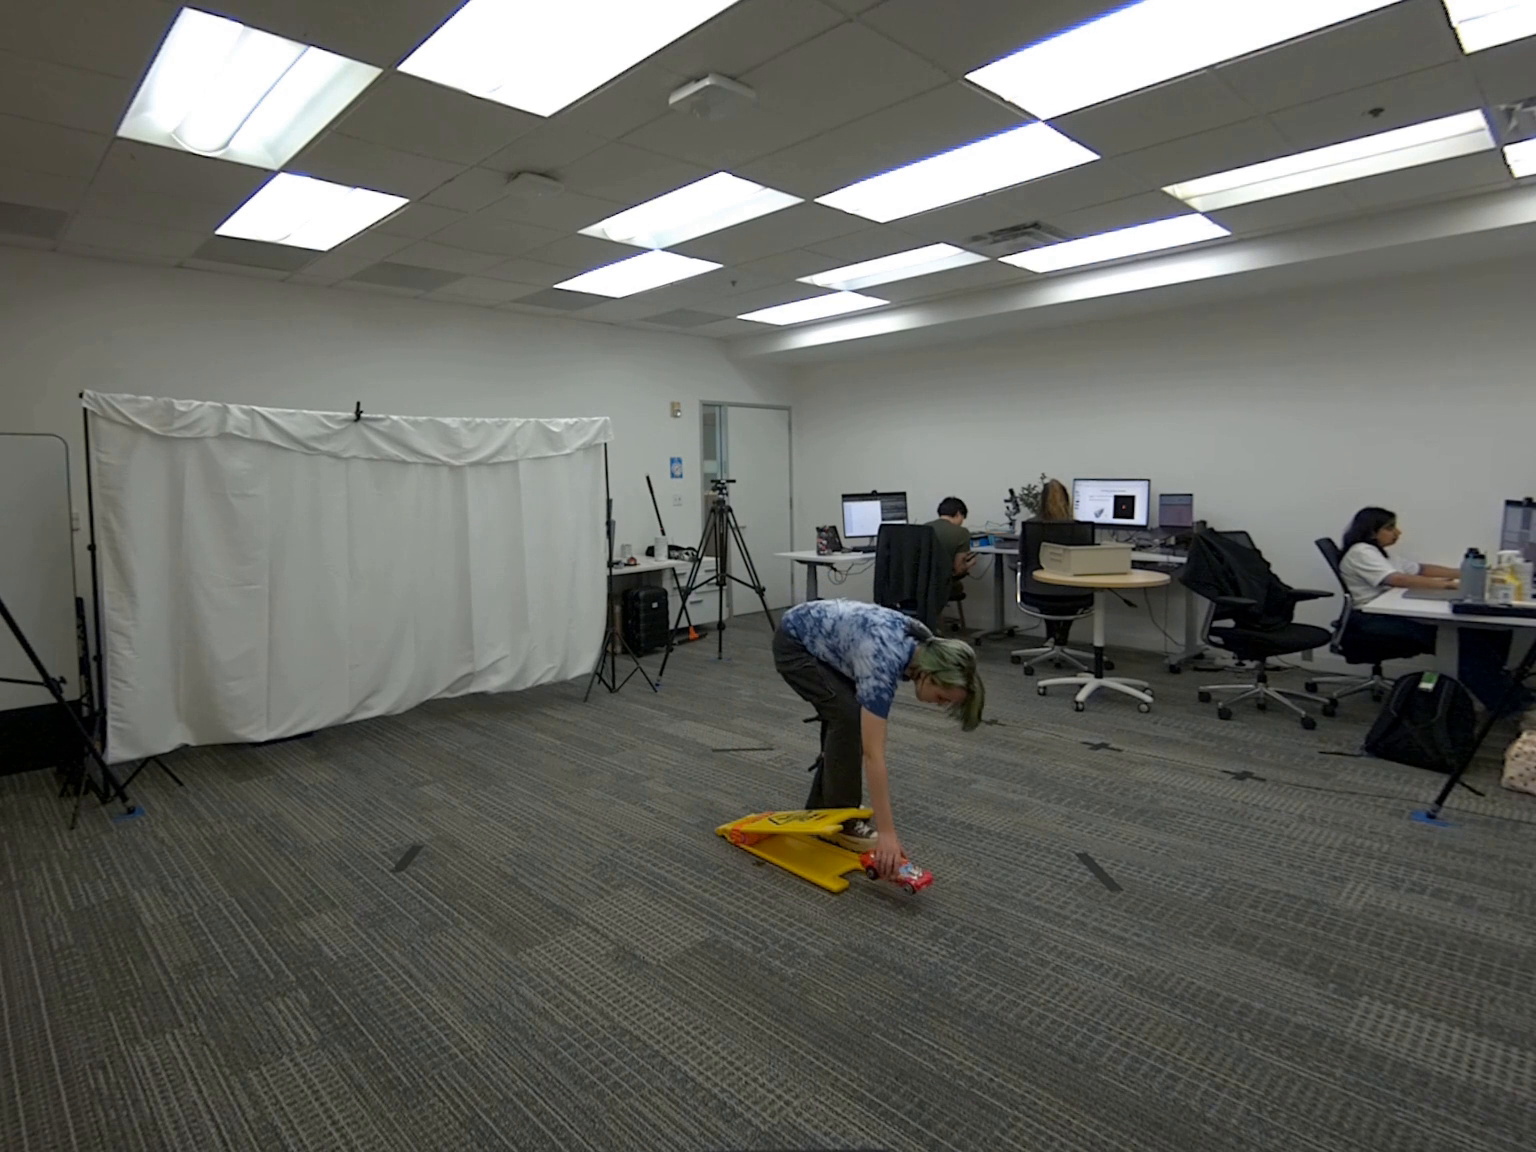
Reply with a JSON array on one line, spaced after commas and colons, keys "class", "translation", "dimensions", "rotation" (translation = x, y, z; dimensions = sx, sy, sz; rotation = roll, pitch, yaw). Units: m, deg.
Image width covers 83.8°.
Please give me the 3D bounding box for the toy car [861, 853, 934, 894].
[{"class": "toy car", "translation": [0.419, 0.979, 2.837], "dimensions": [0.127, 0.082, 0.264], "rotation": [-6, 18, -42]}]
